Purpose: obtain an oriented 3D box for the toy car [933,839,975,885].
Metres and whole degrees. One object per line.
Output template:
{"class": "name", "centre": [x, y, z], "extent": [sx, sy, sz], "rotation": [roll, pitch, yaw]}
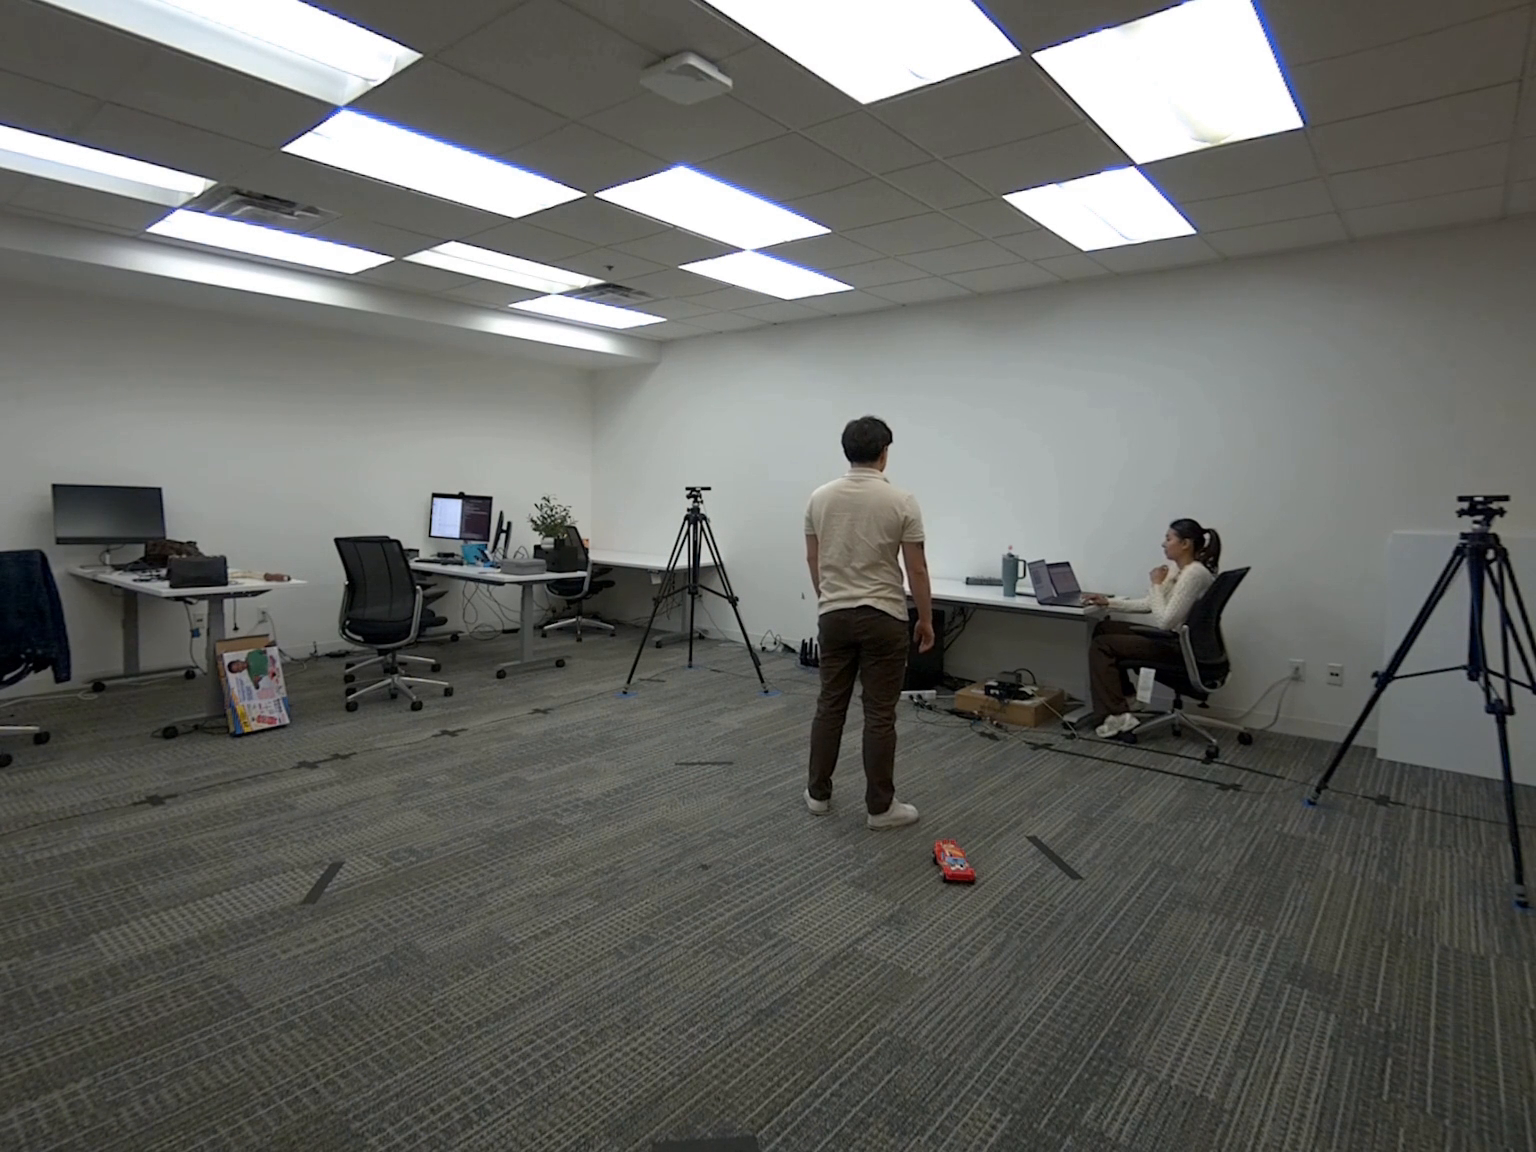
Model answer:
{"class": "toy car", "centre": [0.680, 1.049, 3.144], "extent": [0.130, 0.082, 0.258], "rotation": [0, 18, -1]}
